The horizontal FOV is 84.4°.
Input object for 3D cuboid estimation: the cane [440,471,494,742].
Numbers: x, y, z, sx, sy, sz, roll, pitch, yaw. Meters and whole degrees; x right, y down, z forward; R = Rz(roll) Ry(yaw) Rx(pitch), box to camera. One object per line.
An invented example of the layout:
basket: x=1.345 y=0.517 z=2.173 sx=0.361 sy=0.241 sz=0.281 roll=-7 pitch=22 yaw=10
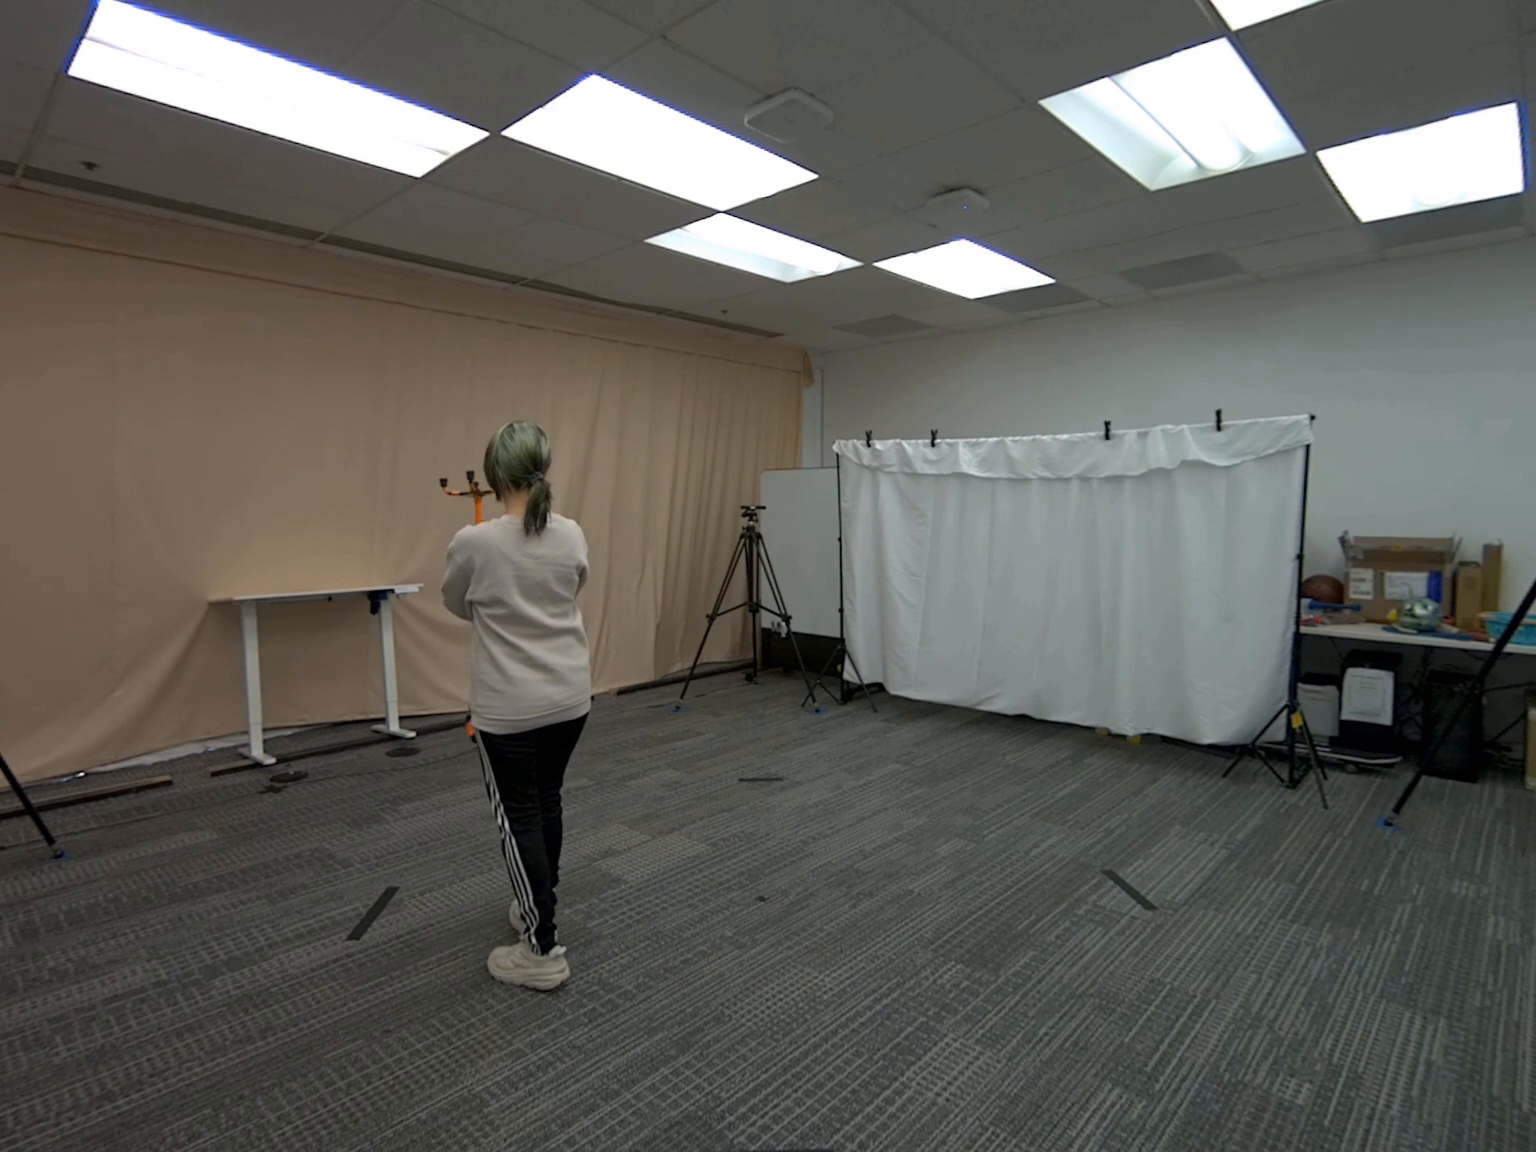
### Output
cane: x=-1.019 y=0.109 z=2.873 sx=0.212 sy=0.911 sz=0.146 roll=-8 pitch=-7 yaw=41
